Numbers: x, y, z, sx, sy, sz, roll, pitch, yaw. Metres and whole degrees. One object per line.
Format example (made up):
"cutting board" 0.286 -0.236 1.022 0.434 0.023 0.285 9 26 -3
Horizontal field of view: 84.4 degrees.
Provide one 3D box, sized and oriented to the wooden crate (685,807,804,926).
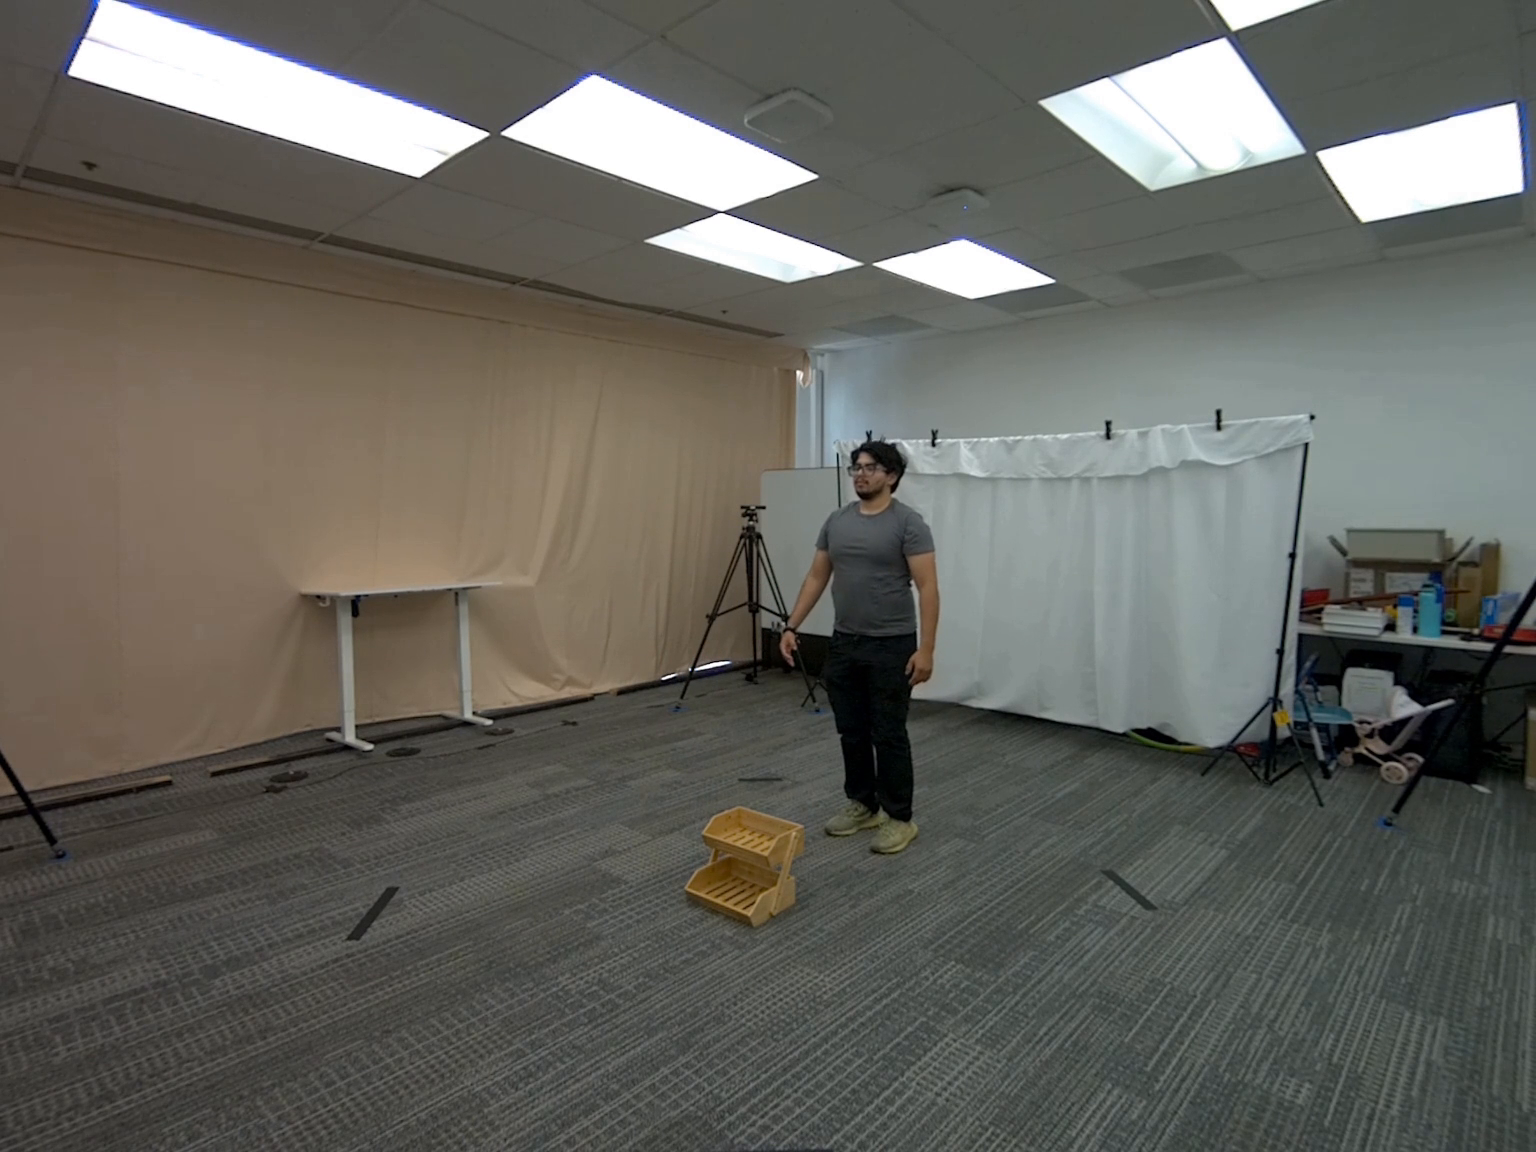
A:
"wooden crate" -0.081 1.013 2.967 0.335 0.273 0.293 3 5 40
